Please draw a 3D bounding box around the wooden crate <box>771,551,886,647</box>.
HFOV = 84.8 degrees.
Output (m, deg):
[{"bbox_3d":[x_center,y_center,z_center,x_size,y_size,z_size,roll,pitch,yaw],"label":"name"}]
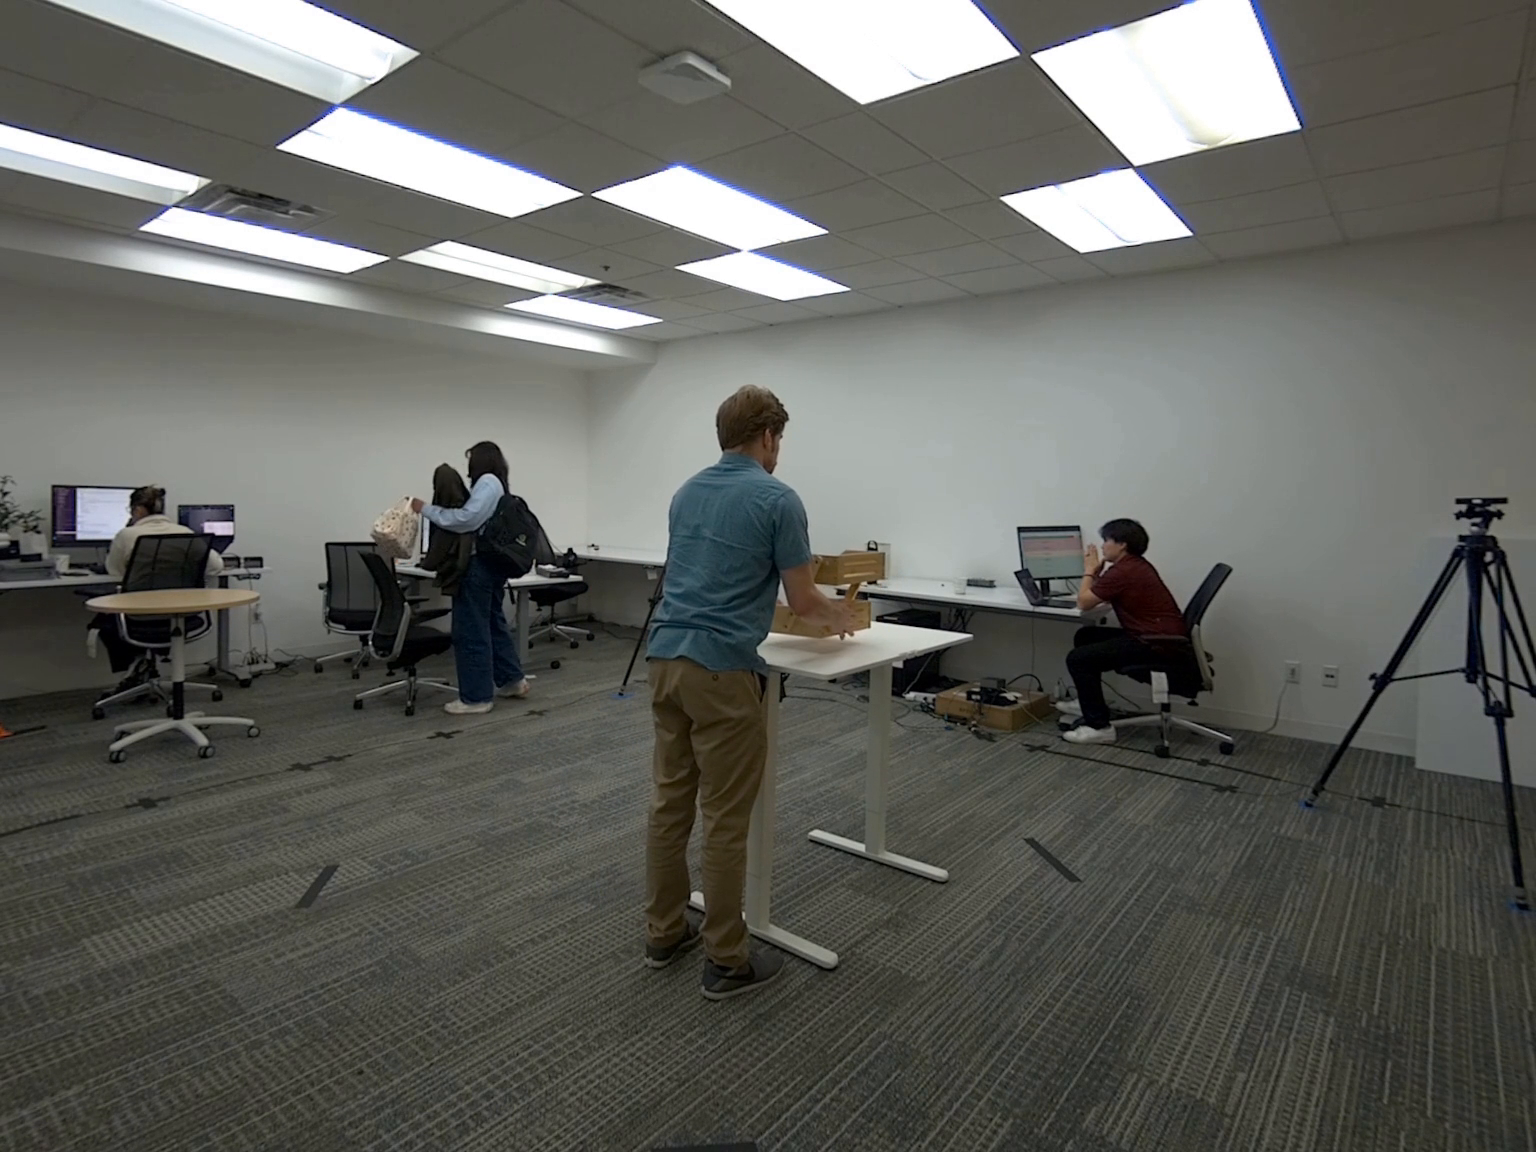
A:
[{"bbox_3d":[0.172,0.045,2.807,0.312,0.272,0.315,5,6,39],"label":"wooden crate"}]
